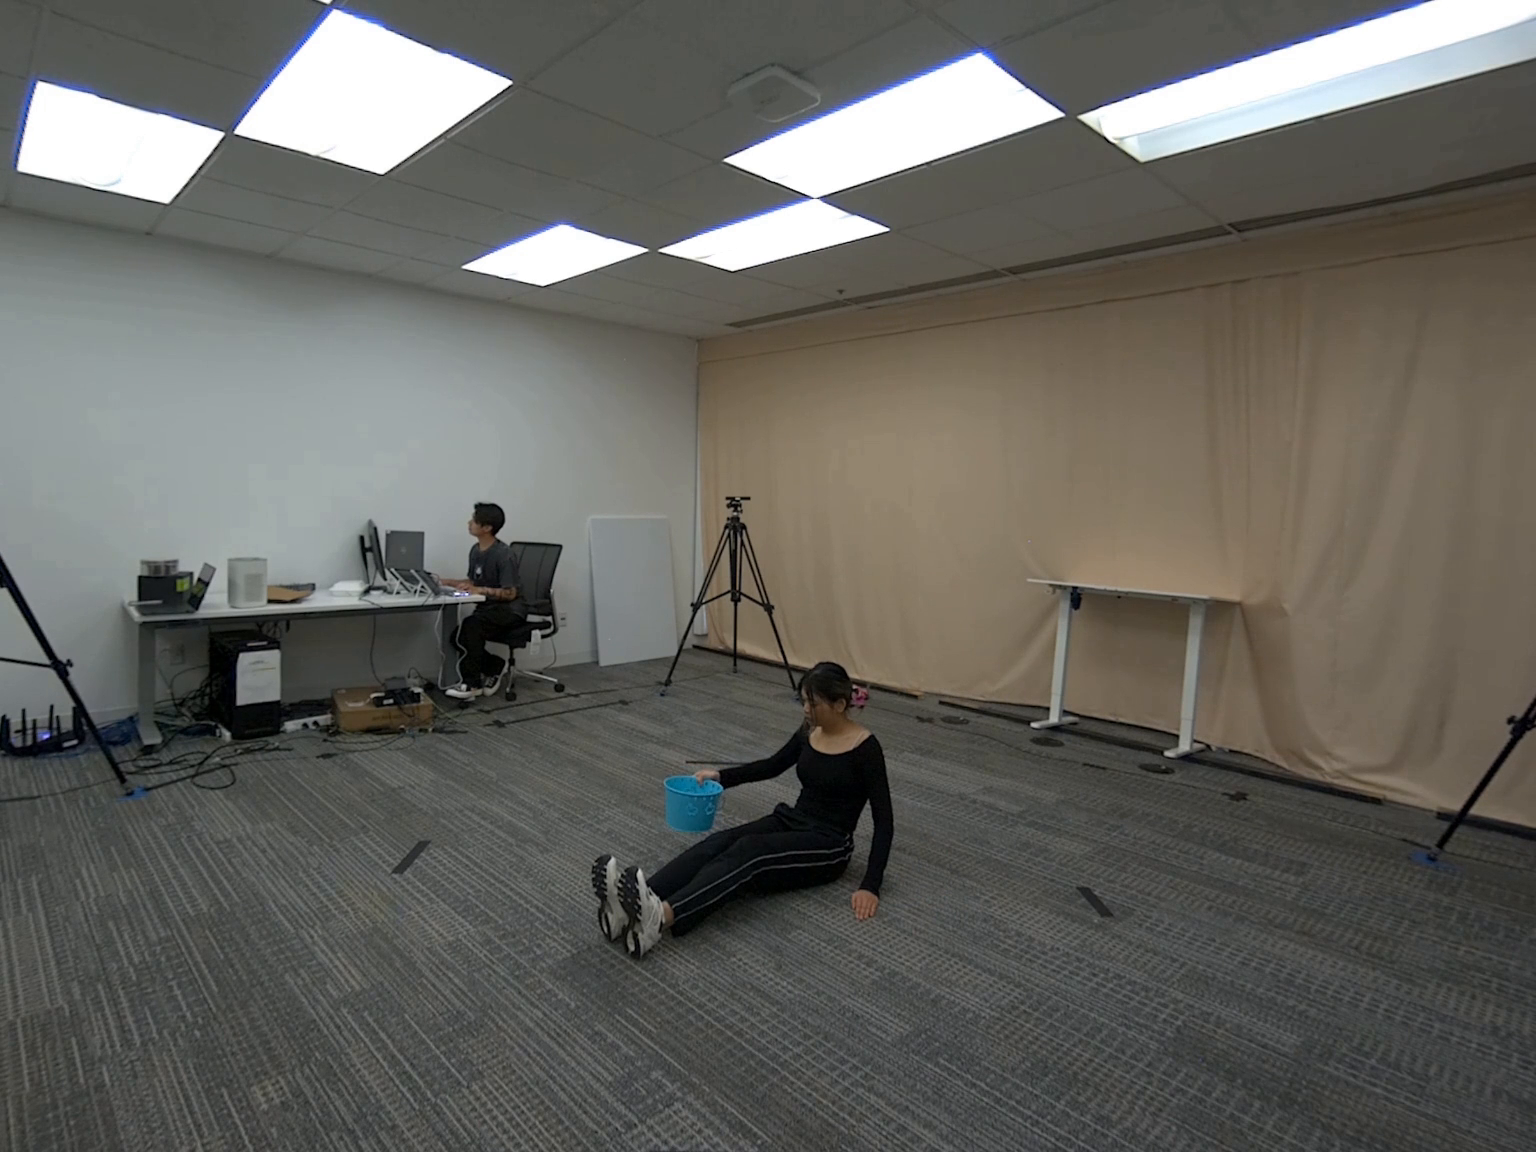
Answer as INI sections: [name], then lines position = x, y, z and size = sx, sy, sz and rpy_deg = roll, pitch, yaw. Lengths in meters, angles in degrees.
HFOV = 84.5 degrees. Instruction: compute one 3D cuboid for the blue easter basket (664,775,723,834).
[blue easter basket]
position = -0.288, 0.882, 3.241
size = 0.243, 0.156, 0.244
rpy_deg = 5, 2, -2
